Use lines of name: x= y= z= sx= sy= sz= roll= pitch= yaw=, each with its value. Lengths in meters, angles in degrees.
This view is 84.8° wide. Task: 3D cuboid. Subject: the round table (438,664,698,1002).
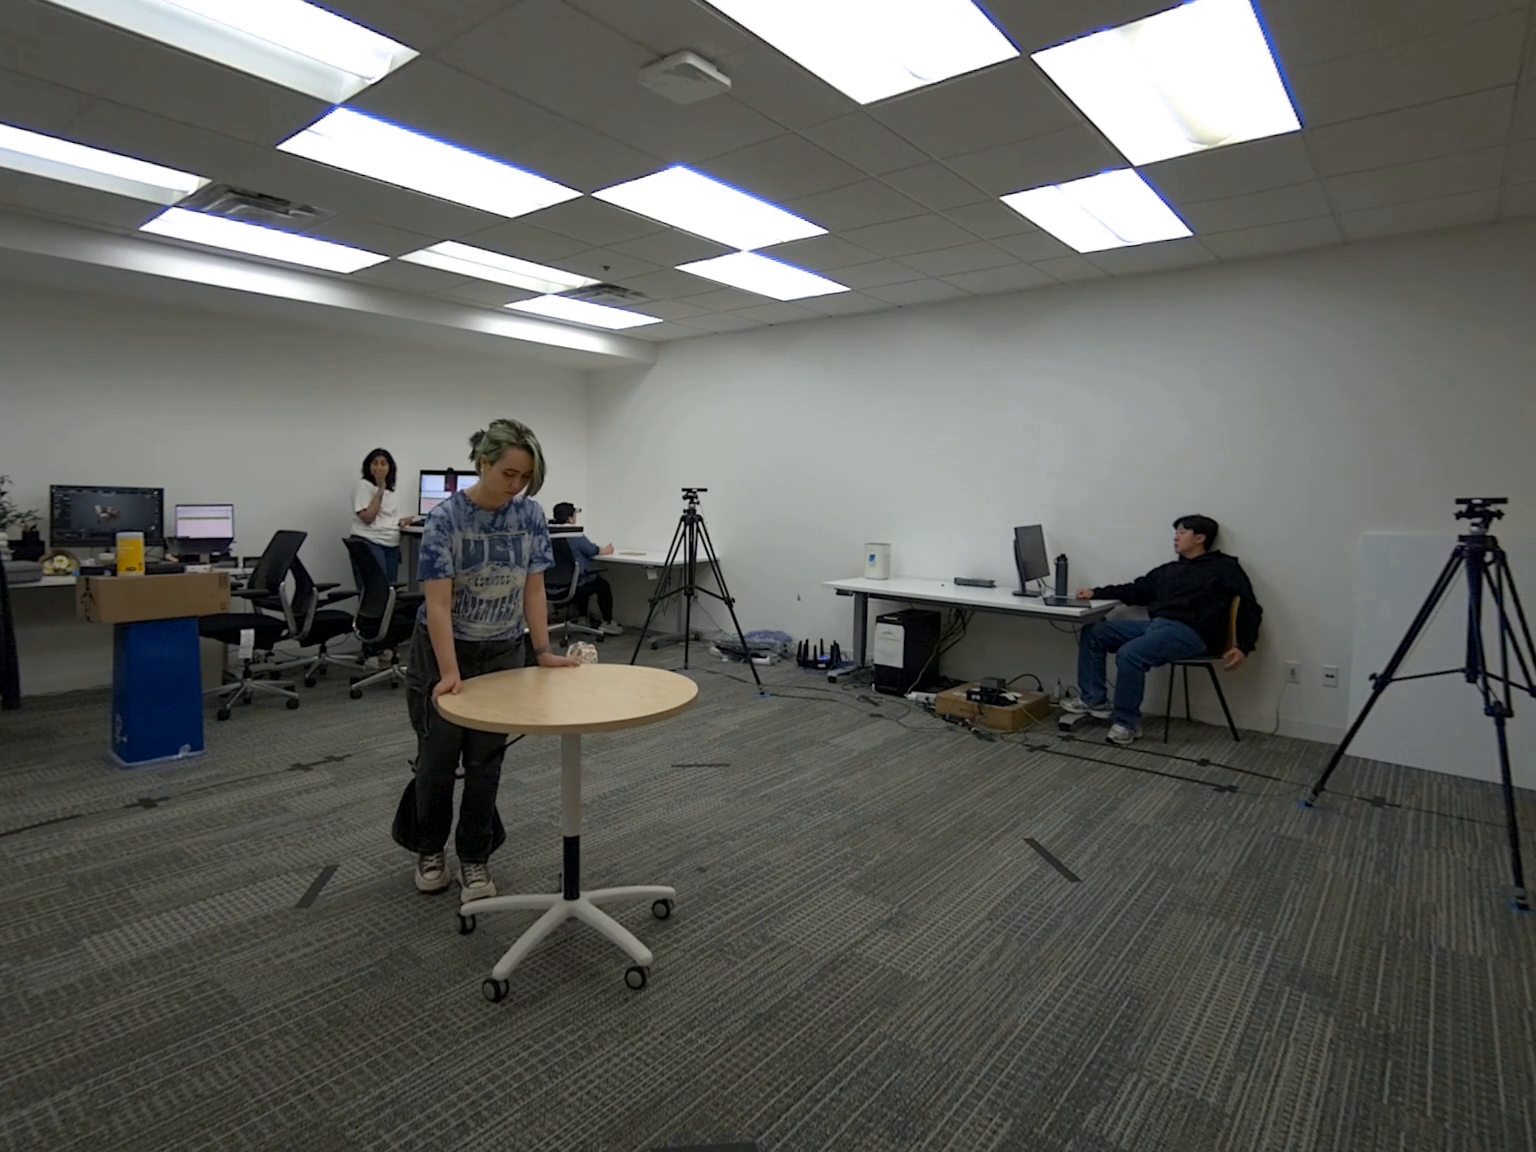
round table: x=-0.606 y=0.730 z=2.574 sx=0.763 sy=0.791 sz=0.768 roll=0 pitch=4 yaw=-2
